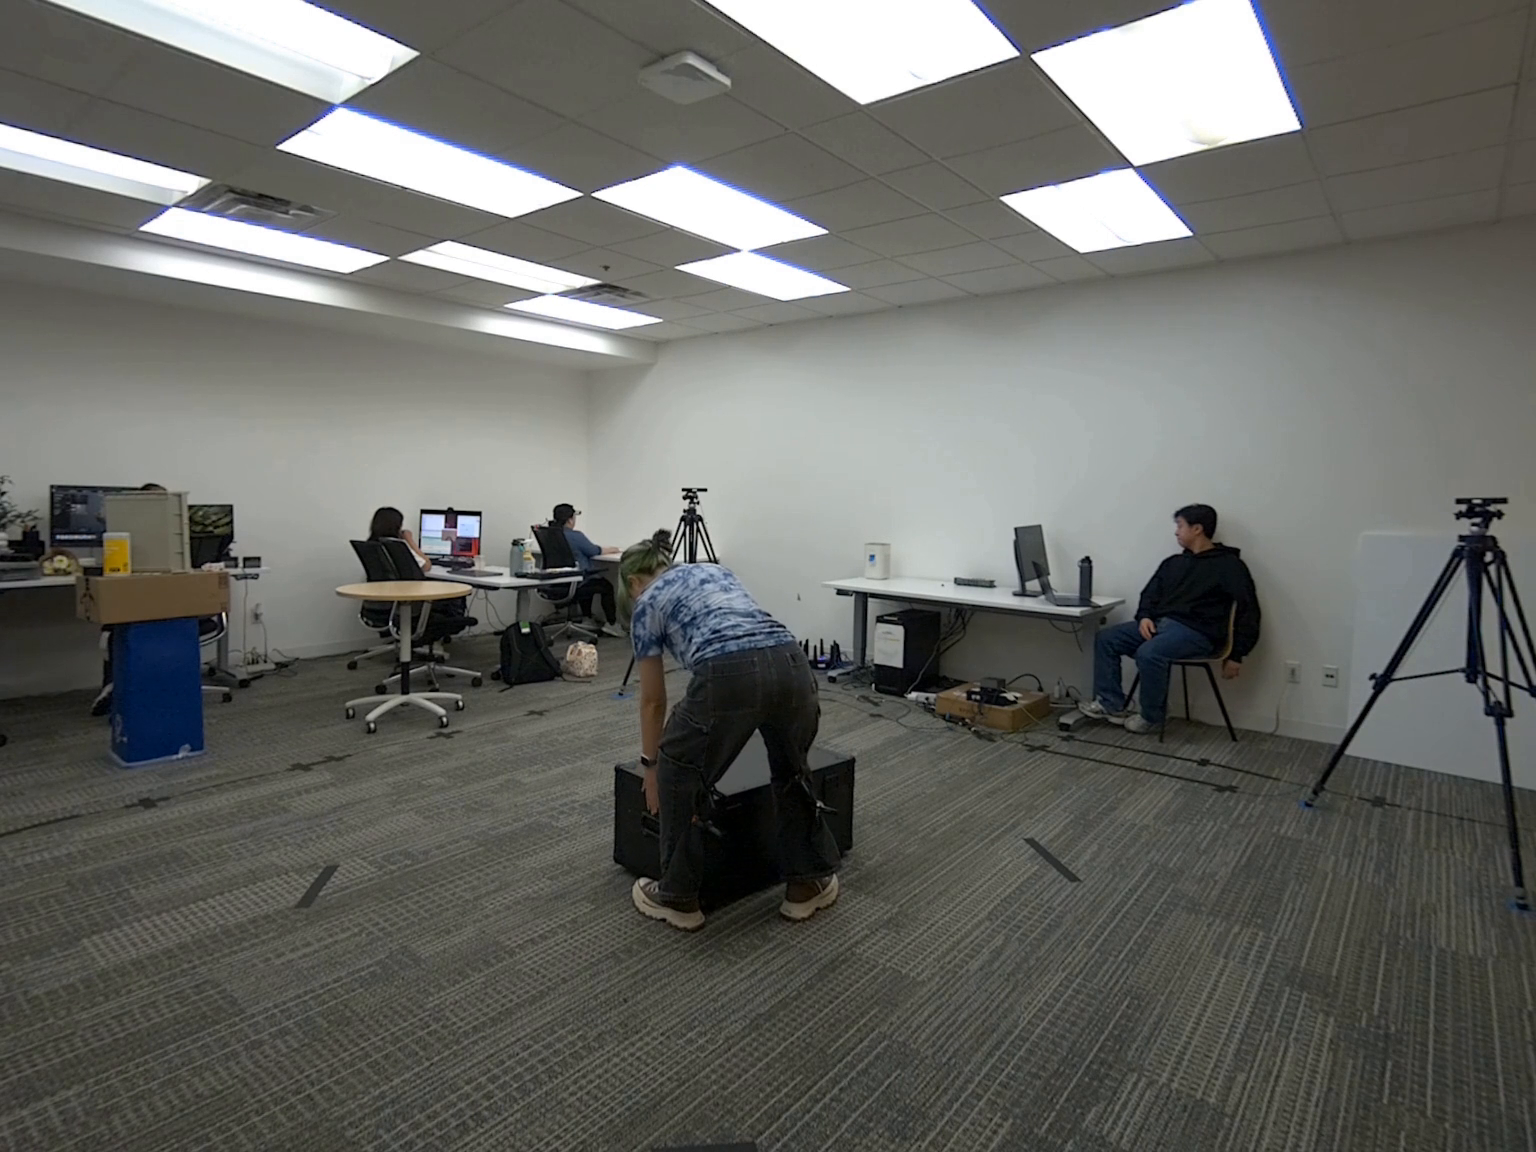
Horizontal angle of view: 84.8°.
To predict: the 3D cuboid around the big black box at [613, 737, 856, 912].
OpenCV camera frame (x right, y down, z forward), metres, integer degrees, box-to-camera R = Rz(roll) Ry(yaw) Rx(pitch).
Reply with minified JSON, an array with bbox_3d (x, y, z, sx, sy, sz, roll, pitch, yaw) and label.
[{"bbox_3d":[-0.103,0.876,3.195,0.836,0.395,0.539,-4,7,-42],"label":"big black box"}]
